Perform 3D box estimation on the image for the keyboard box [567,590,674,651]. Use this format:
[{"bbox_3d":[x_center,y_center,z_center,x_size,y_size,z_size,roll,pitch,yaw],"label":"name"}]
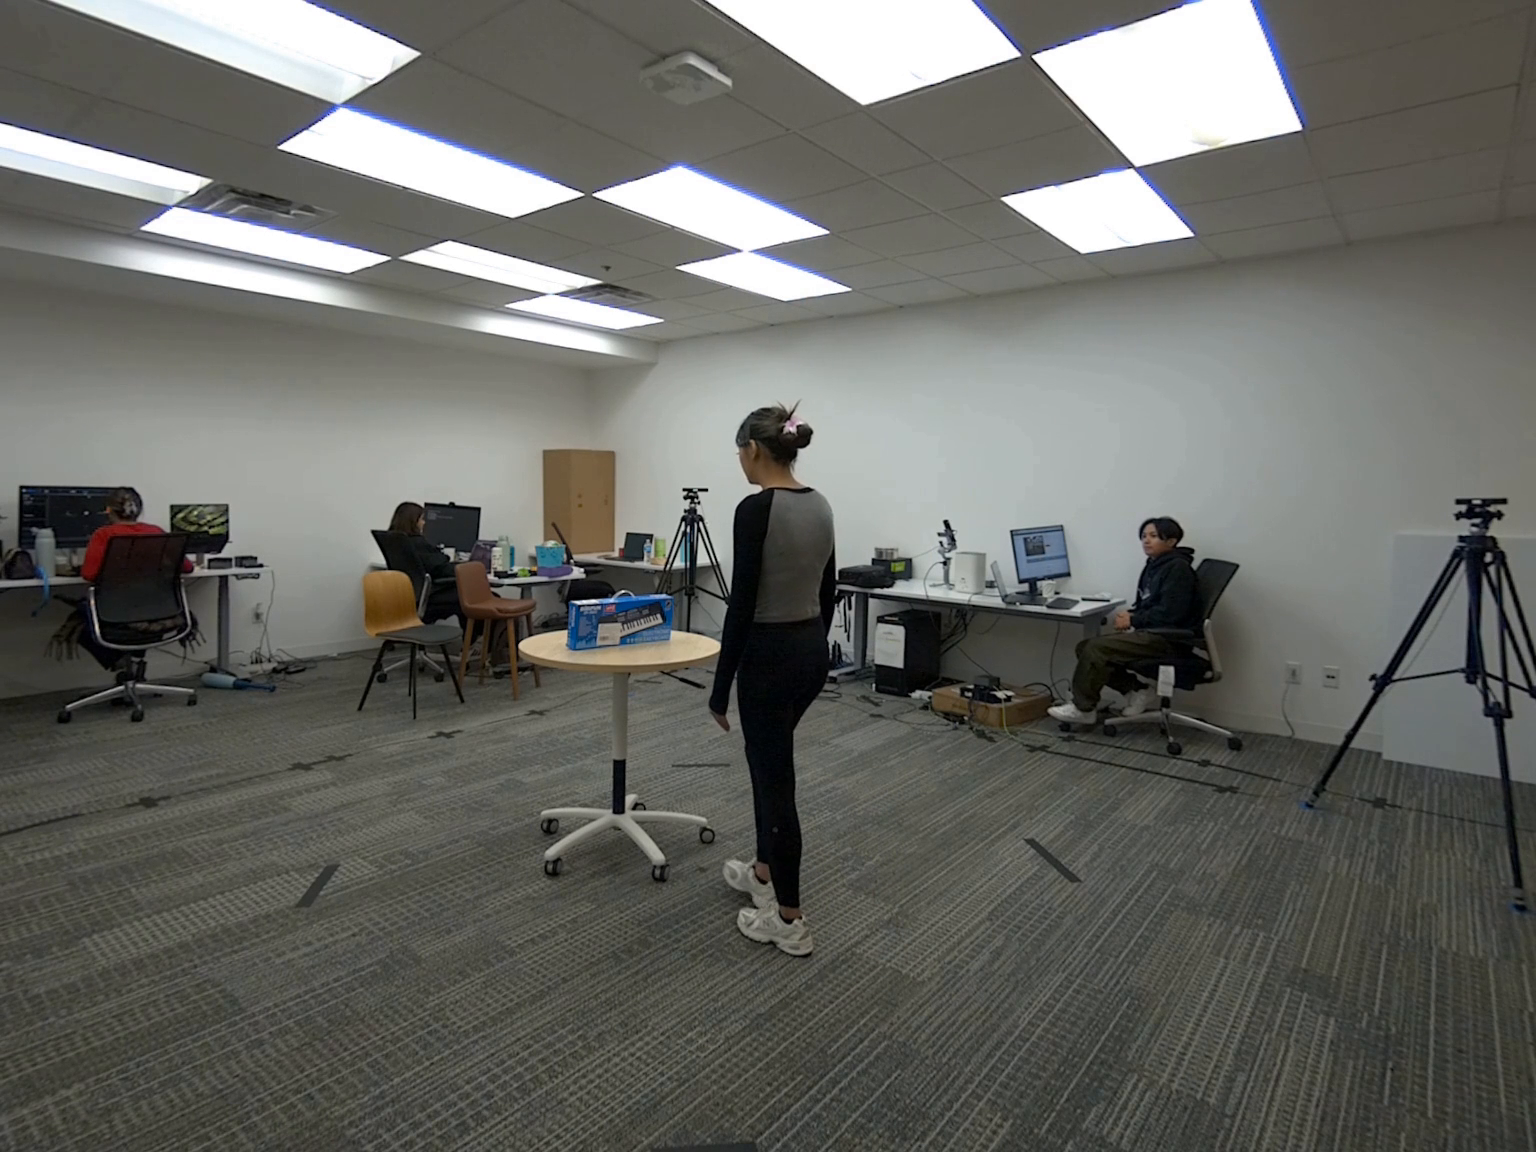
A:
[{"bbox_3d":[-0.566,0.172,3.237,0.424,0.175,0.061,-4,11,-41],"label":"keyboard box"}]
